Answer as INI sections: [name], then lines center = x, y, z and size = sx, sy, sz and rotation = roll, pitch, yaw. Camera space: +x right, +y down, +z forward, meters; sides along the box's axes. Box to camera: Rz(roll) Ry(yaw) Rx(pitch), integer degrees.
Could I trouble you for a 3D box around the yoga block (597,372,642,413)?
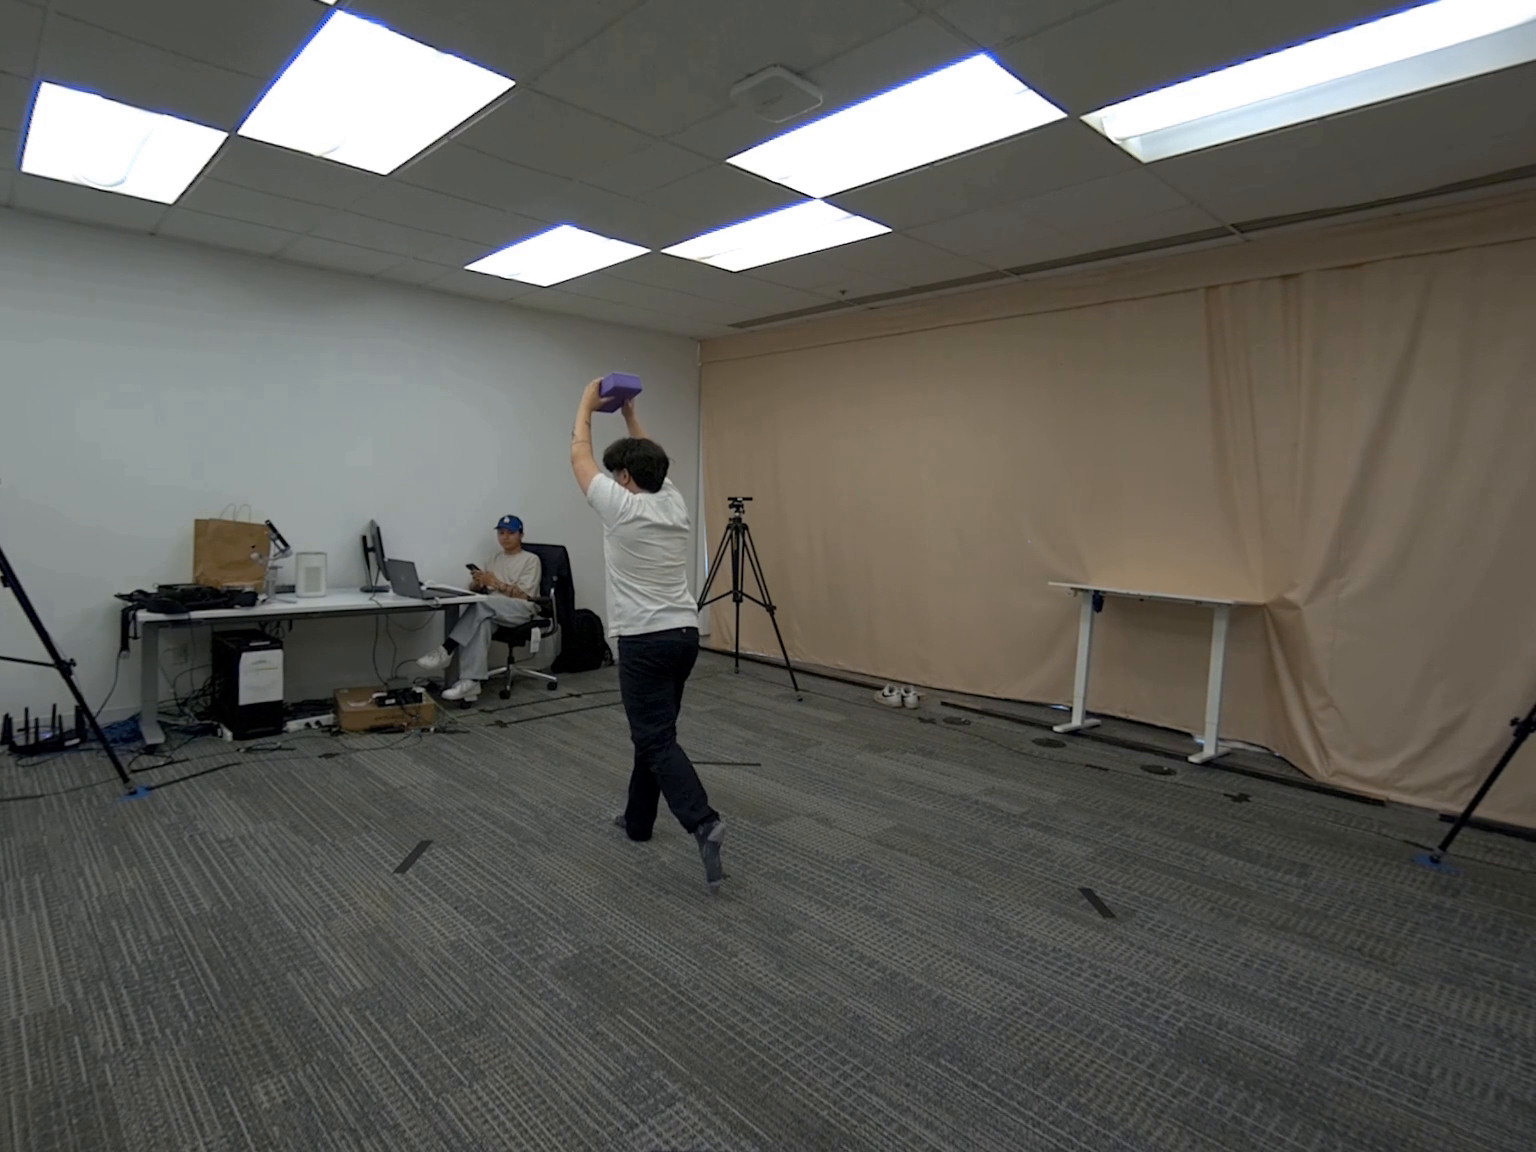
[yoga block]
center = -0.654, -0.761, 3.538
size = 0.145, 0.077, 0.232
rotation = -2, -15, -46
